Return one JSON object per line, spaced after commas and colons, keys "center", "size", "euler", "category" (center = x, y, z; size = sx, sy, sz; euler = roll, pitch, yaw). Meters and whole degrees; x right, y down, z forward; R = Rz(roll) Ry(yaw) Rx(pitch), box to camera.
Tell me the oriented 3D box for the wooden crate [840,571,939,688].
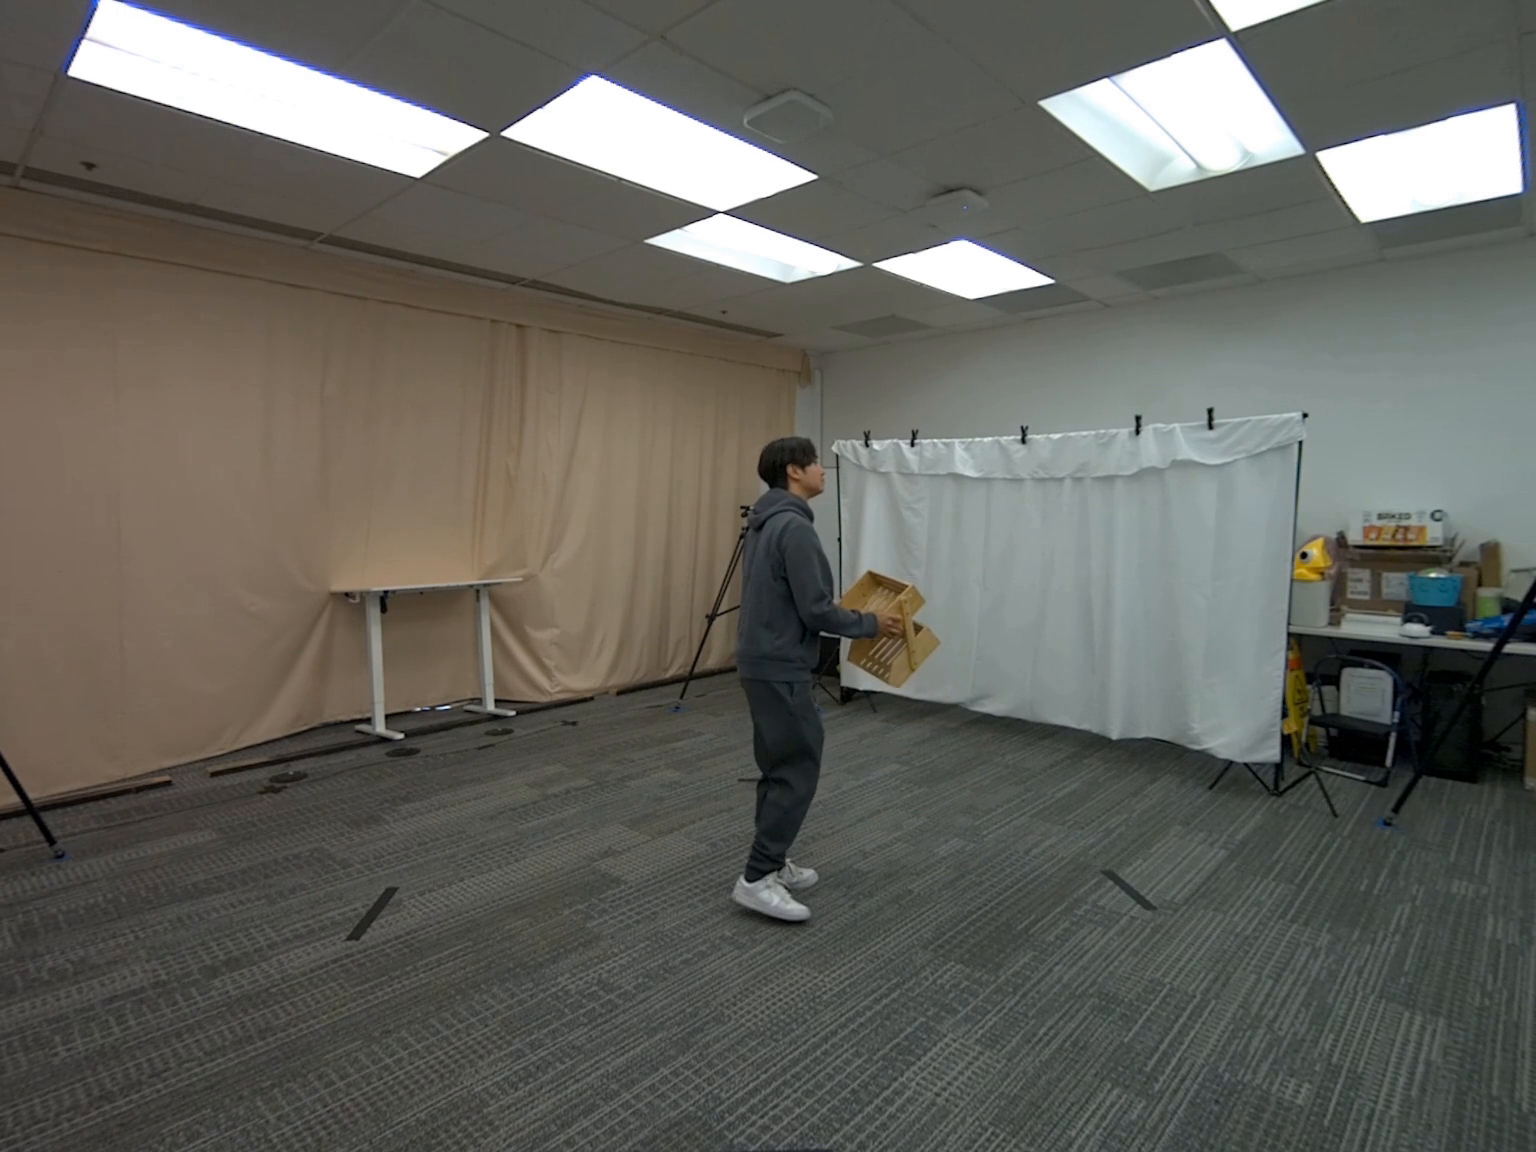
{"center": [0.425, 0.191, 3.132], "size": [0.301, 0.266, 0.334], "euler": [-44, 24, -10], "category": "wooden crate"}
